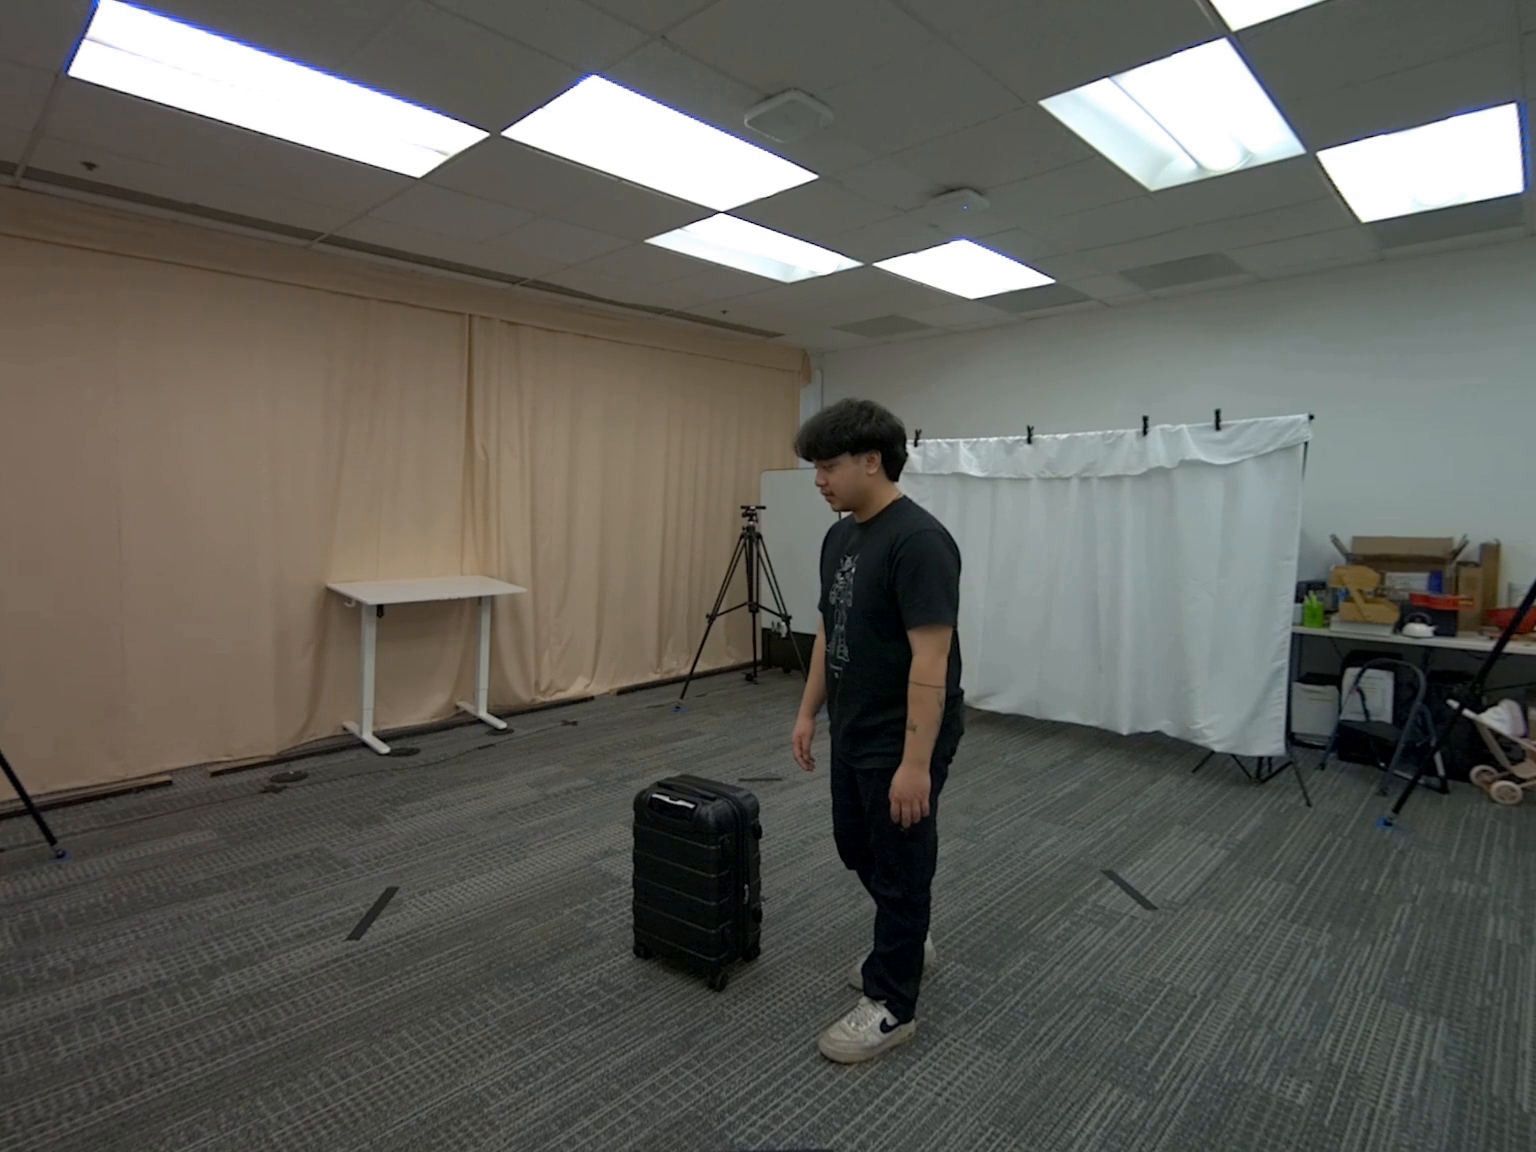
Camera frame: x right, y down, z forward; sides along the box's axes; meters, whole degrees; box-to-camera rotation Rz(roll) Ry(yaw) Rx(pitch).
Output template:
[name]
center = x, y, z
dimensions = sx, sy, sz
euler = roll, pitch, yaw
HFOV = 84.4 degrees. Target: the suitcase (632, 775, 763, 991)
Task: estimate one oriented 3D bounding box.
[suitcase]
center = -0.220, 0.904, 2.571
dimensions = 0.387, 0.548, 0.241
euler = 2, 4, 36
